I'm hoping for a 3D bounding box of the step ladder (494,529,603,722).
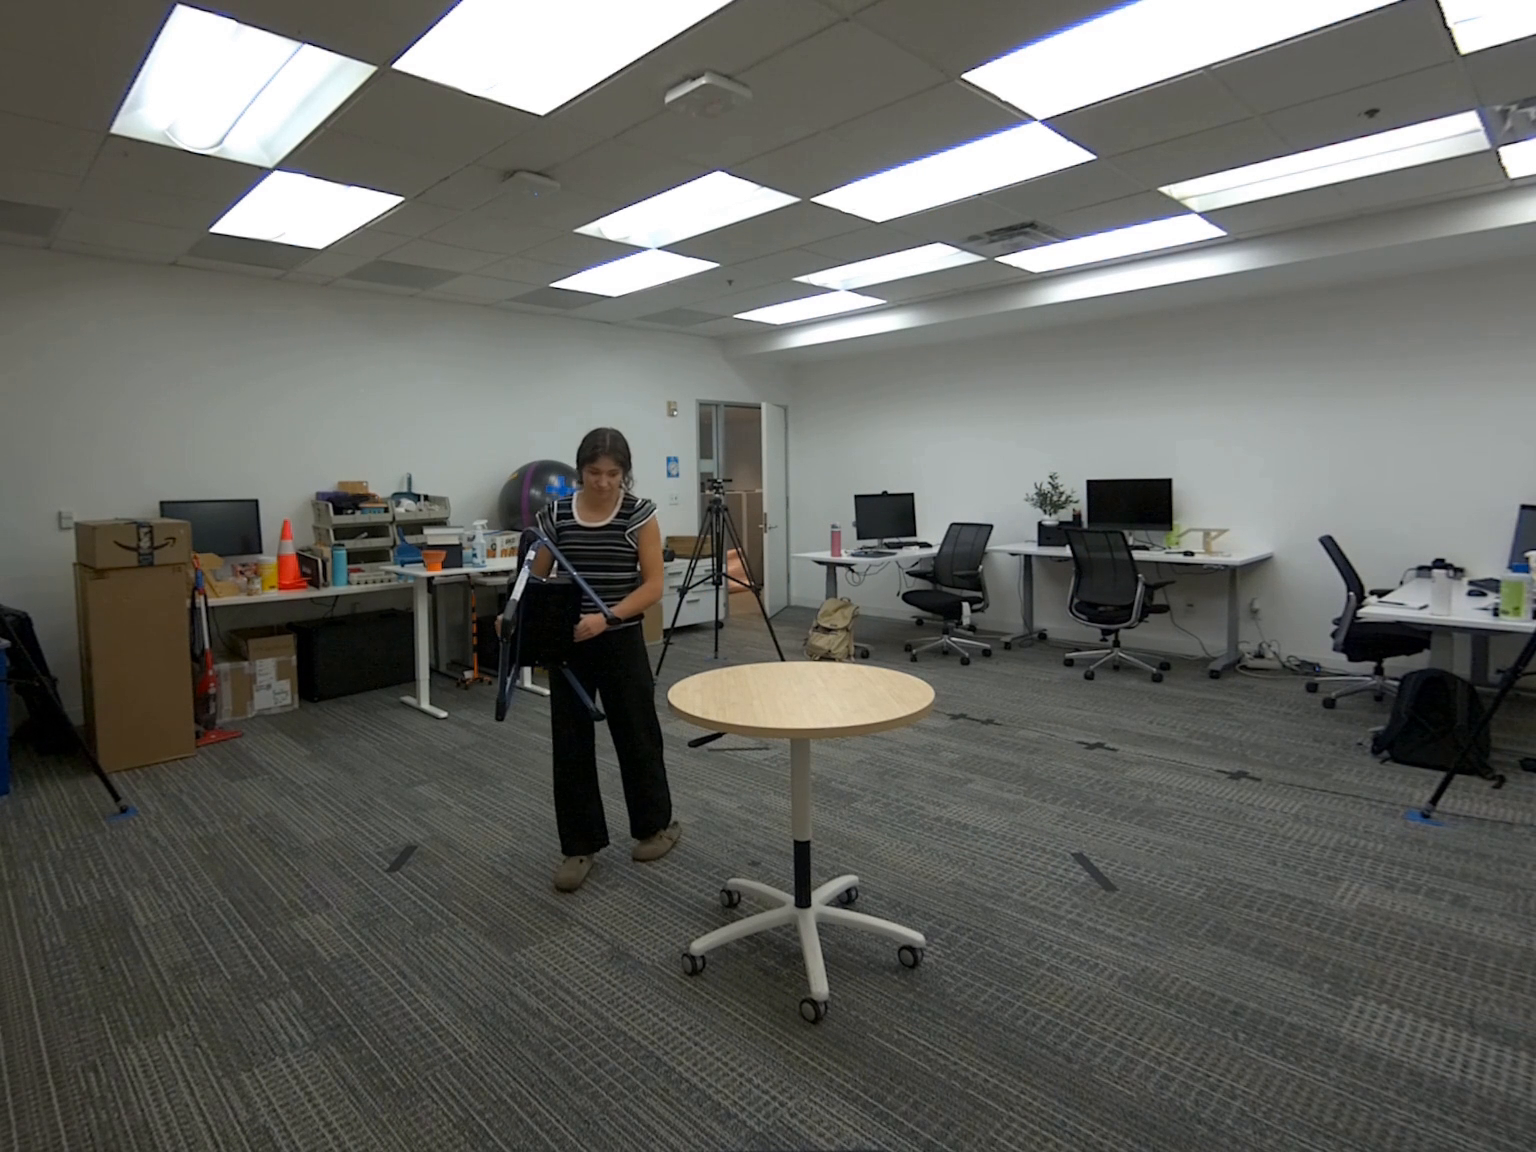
[{"bbox_3d":[-0.742,0.123,2.868,0.342,0.423,0.628,1,35,-21],"label":"step ladder"}]
